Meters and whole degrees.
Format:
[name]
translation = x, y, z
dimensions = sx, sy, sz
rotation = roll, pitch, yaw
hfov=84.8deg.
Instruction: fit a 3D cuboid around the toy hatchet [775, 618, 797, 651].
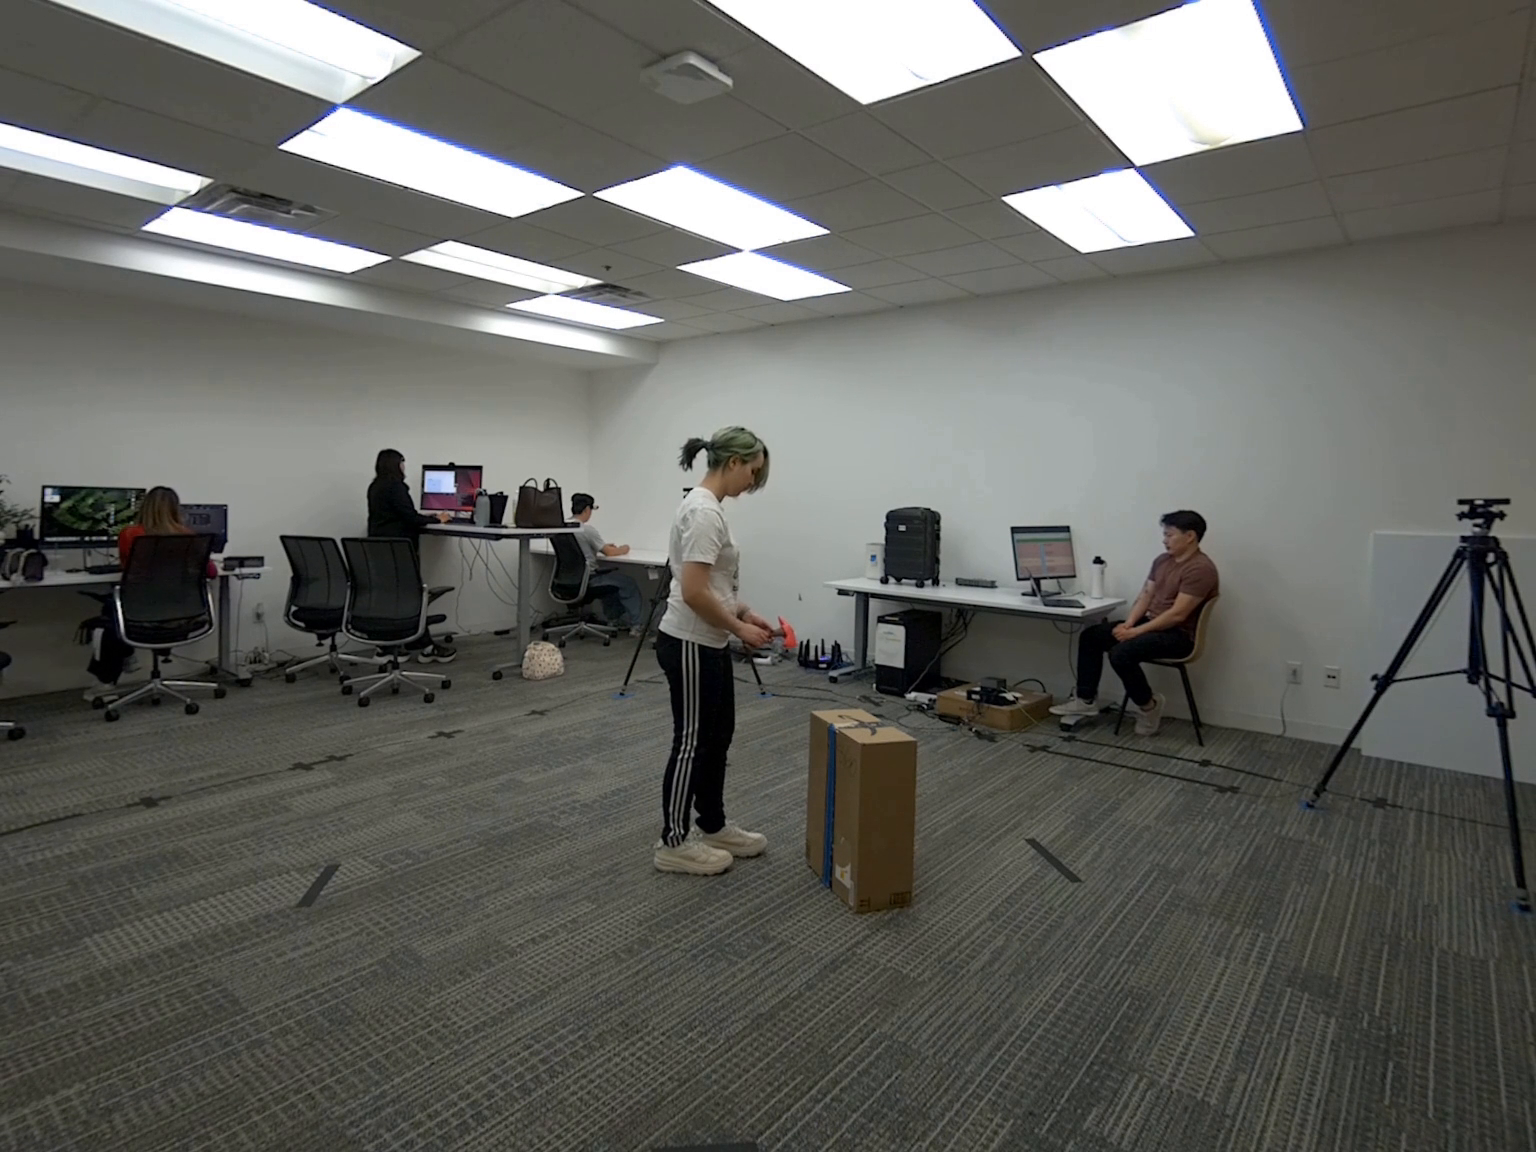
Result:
[toy hatchet]
translation = 0.011, 0.249, 3.110
dimensions = 0.267, 0.132, 0.029
rotation = -36, -8, -48
